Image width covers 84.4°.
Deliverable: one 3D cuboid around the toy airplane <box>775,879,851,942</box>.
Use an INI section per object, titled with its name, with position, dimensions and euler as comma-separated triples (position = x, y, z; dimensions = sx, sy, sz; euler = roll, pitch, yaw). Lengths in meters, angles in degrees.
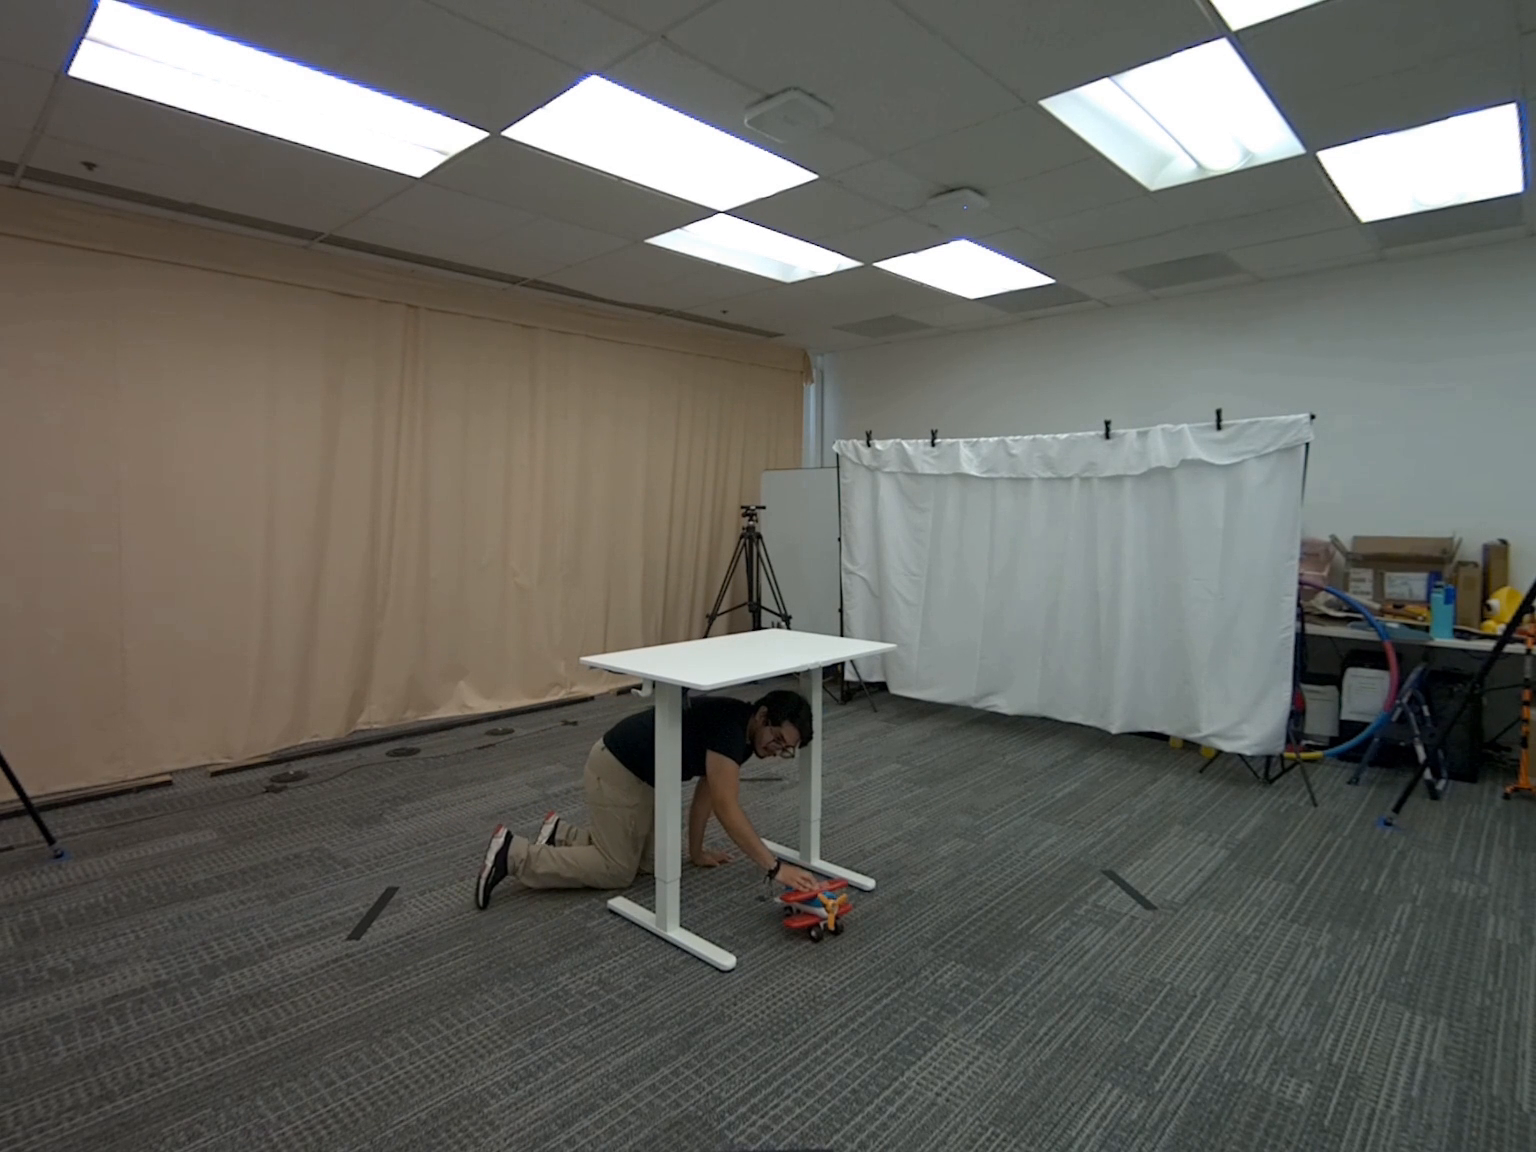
[toy airplane]
position = 0.129, 1.092, 2.768
dimensions = 0.267, 0.156, 0.244
euler = 4, 5, 30
